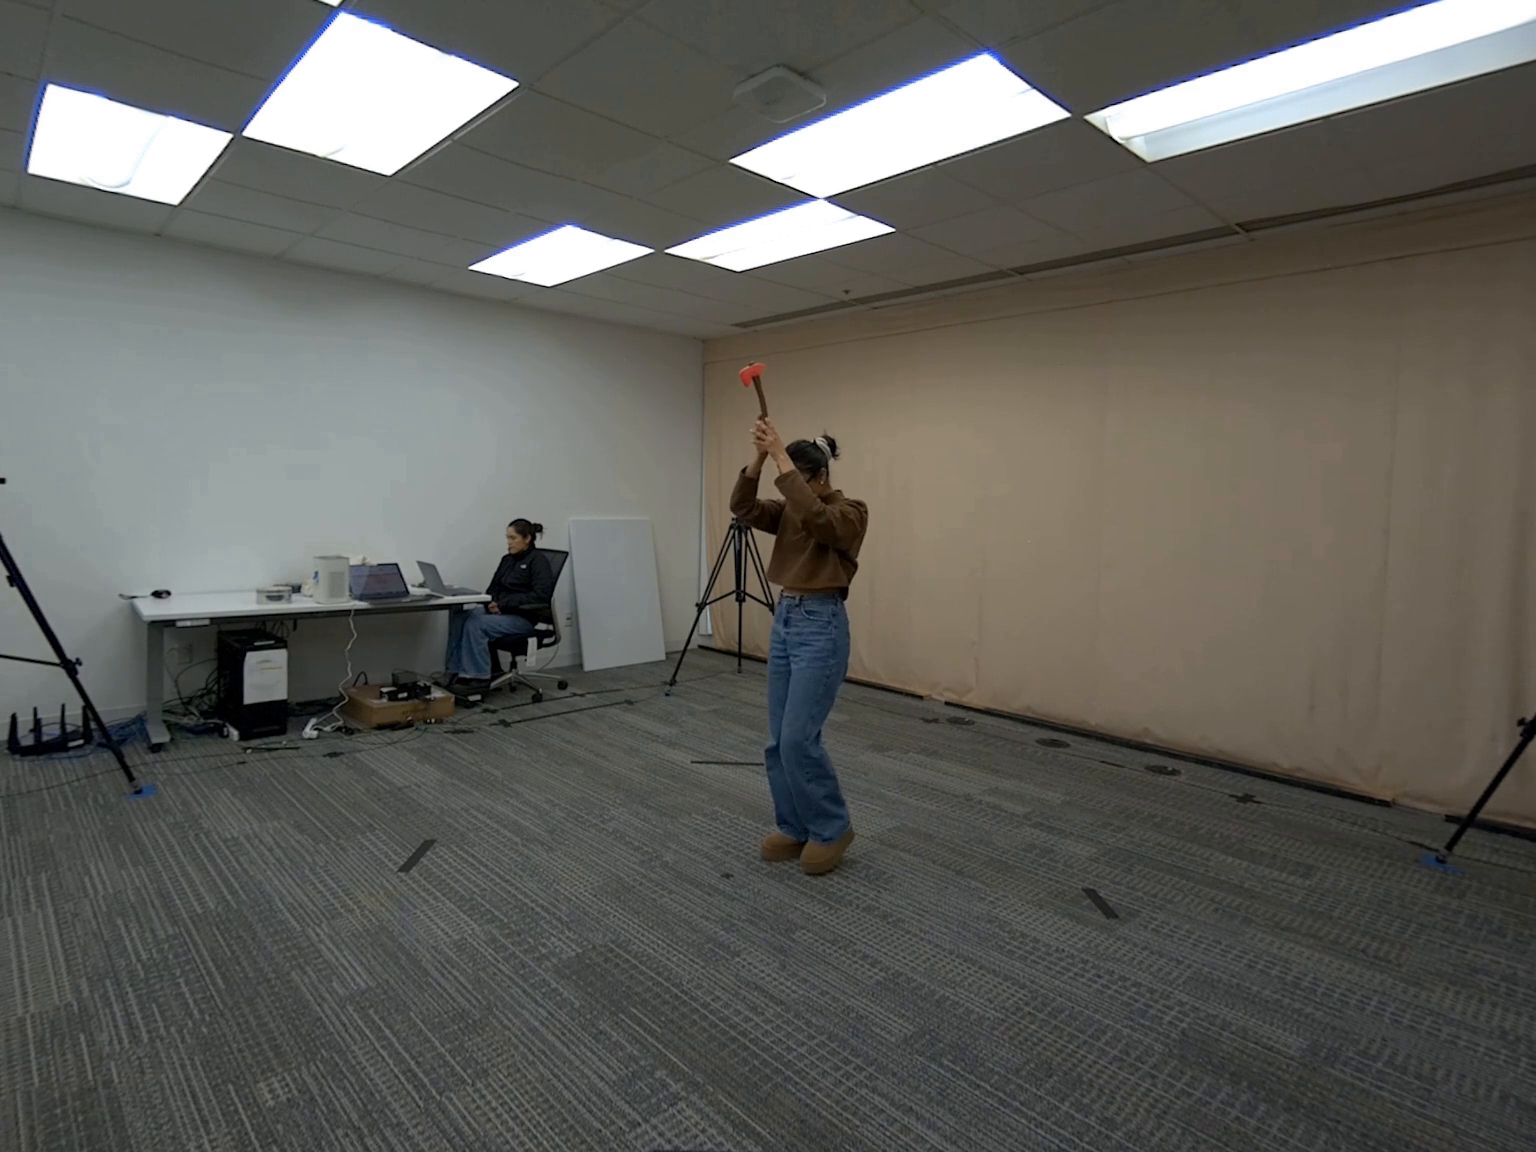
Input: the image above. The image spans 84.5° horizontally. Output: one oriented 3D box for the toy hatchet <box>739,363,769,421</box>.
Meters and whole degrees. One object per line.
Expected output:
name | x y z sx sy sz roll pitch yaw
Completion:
toy hatchet | -0.058 -0.652 3.082 0.128 0.270 0.030 -4 1 -41
